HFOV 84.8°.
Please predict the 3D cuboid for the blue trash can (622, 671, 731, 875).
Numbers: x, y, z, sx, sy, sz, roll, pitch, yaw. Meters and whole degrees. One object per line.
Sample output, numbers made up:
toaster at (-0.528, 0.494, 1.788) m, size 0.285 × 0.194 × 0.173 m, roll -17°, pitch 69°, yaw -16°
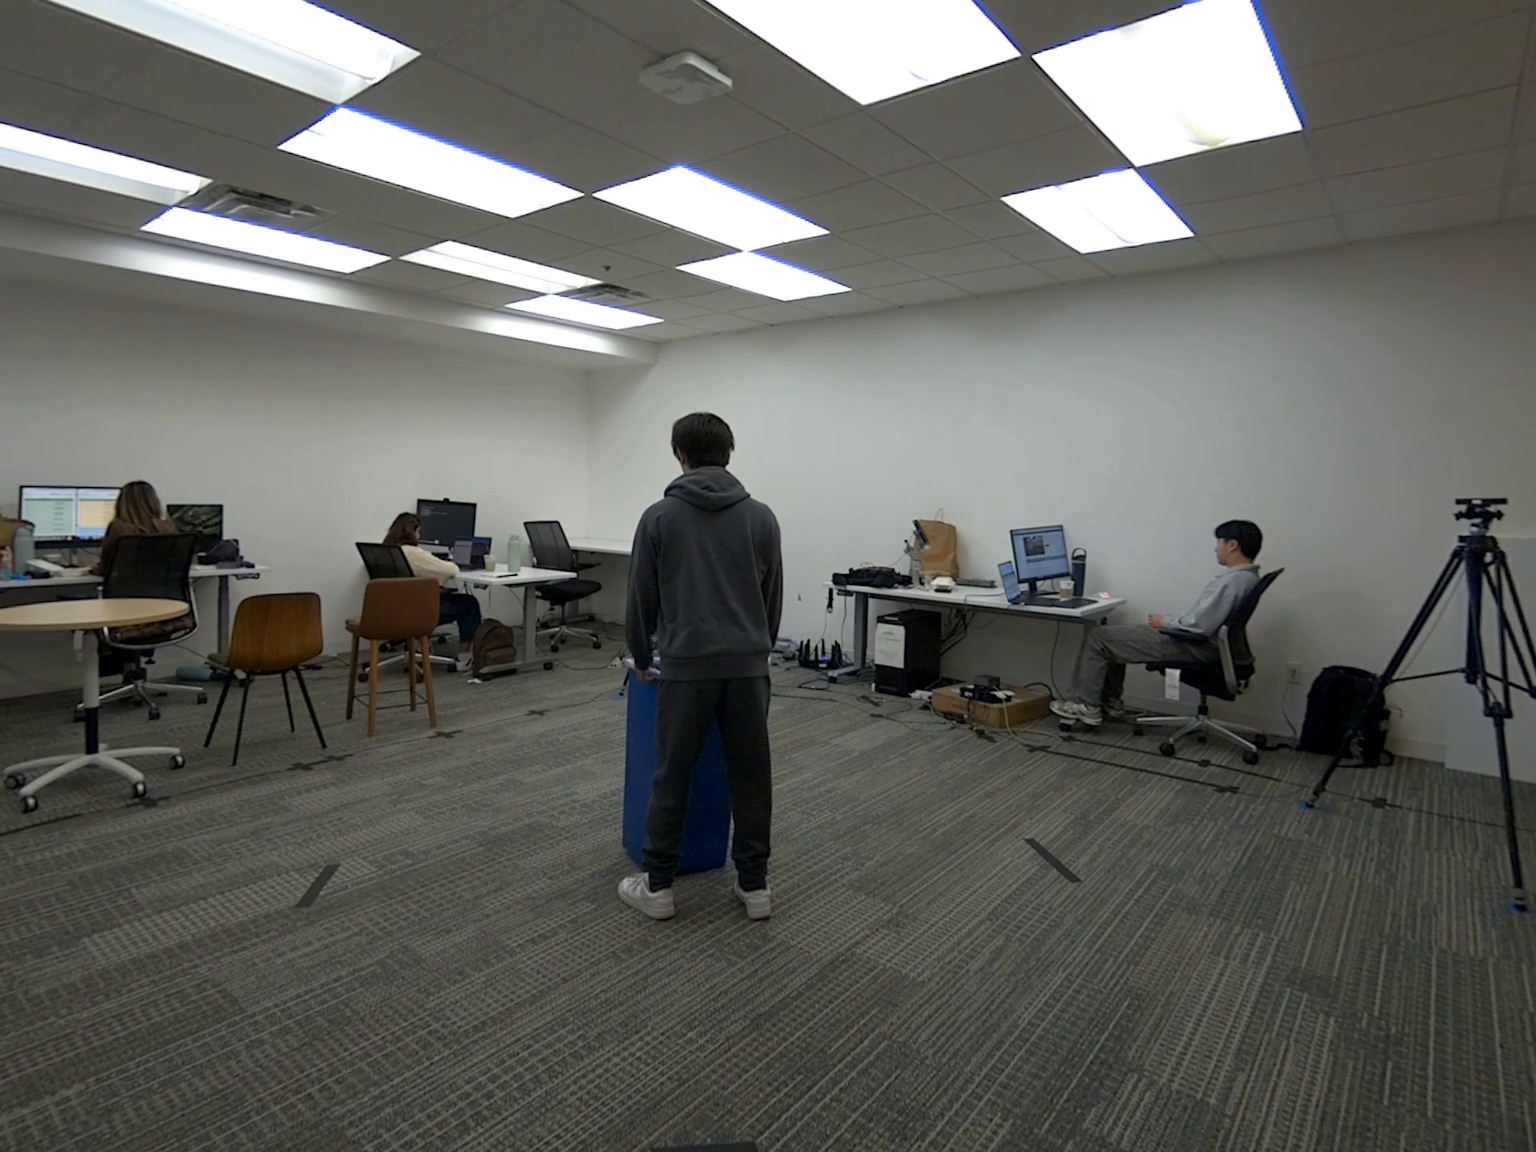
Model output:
blue trash can at (-0.345, 0.689, 3.200) m, size 0.367 × 0.714 × 0.385 m, roll 4°, pitch 0°, yaw -30°
